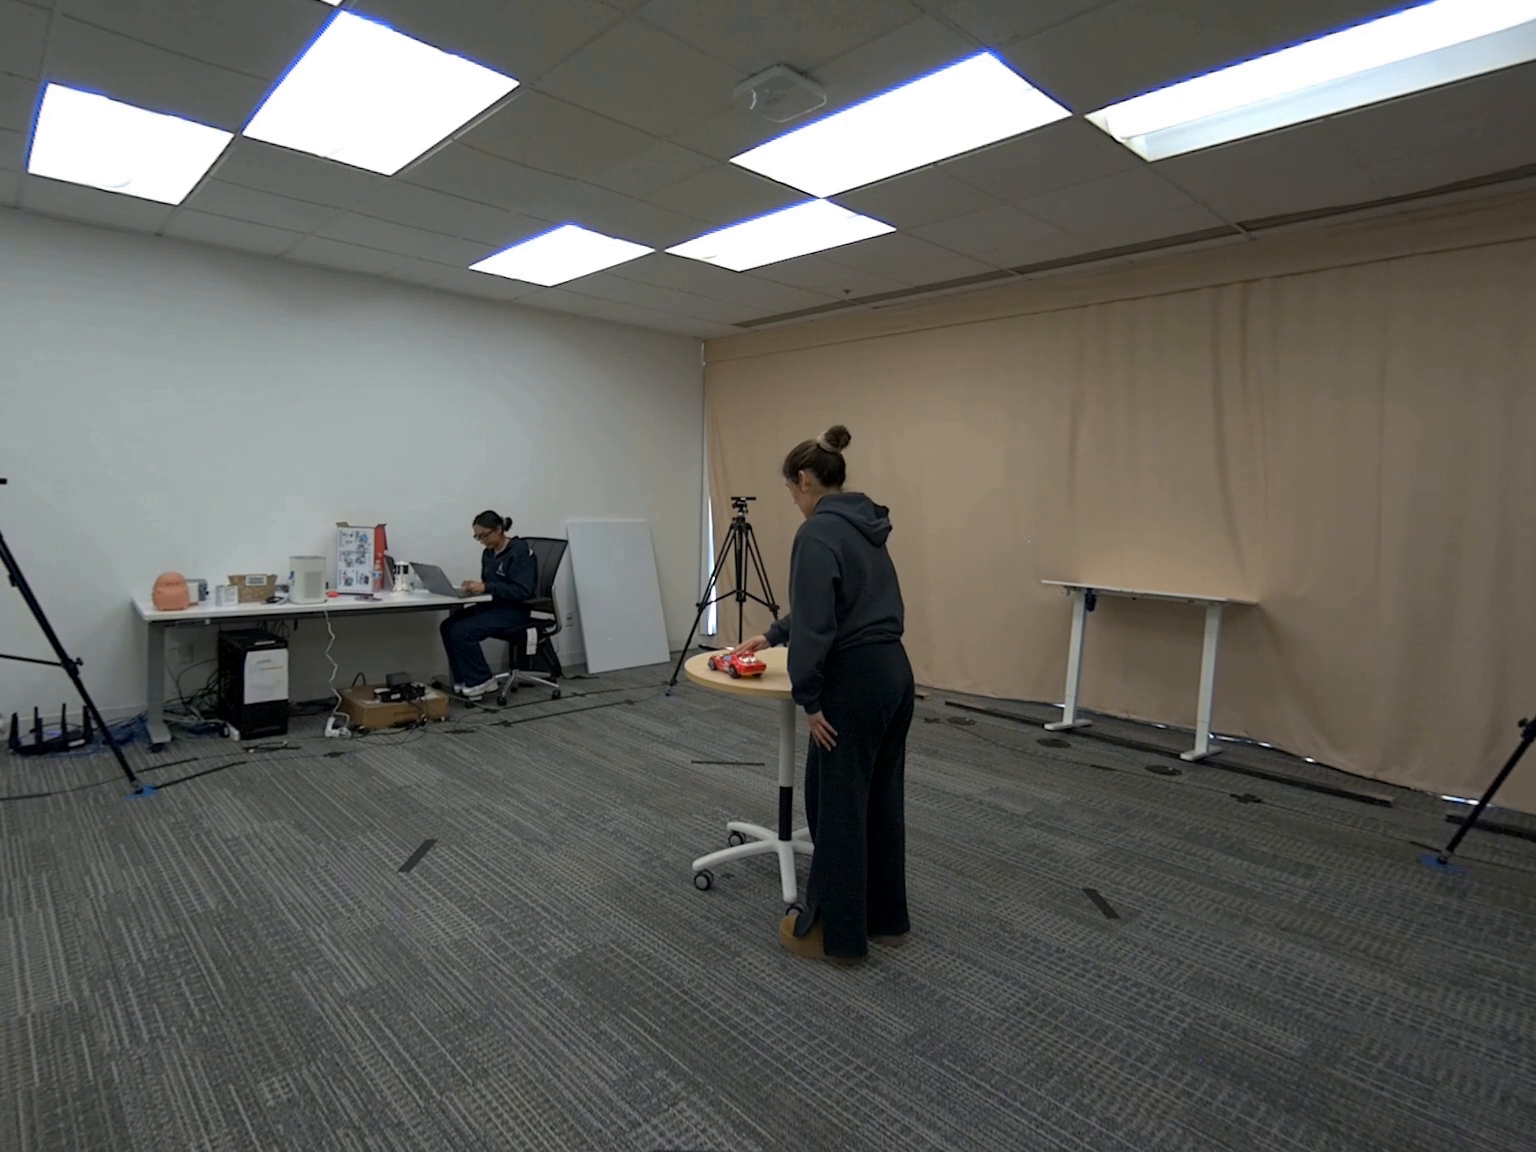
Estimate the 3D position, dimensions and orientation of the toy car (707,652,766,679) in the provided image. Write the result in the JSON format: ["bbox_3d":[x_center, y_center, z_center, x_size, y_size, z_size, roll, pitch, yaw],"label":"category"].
[{"bbox_3d":[-0.108,0.311,2.921,0.127,0.083,0.259,-1,-5,-32],"label":"toy car"}]
